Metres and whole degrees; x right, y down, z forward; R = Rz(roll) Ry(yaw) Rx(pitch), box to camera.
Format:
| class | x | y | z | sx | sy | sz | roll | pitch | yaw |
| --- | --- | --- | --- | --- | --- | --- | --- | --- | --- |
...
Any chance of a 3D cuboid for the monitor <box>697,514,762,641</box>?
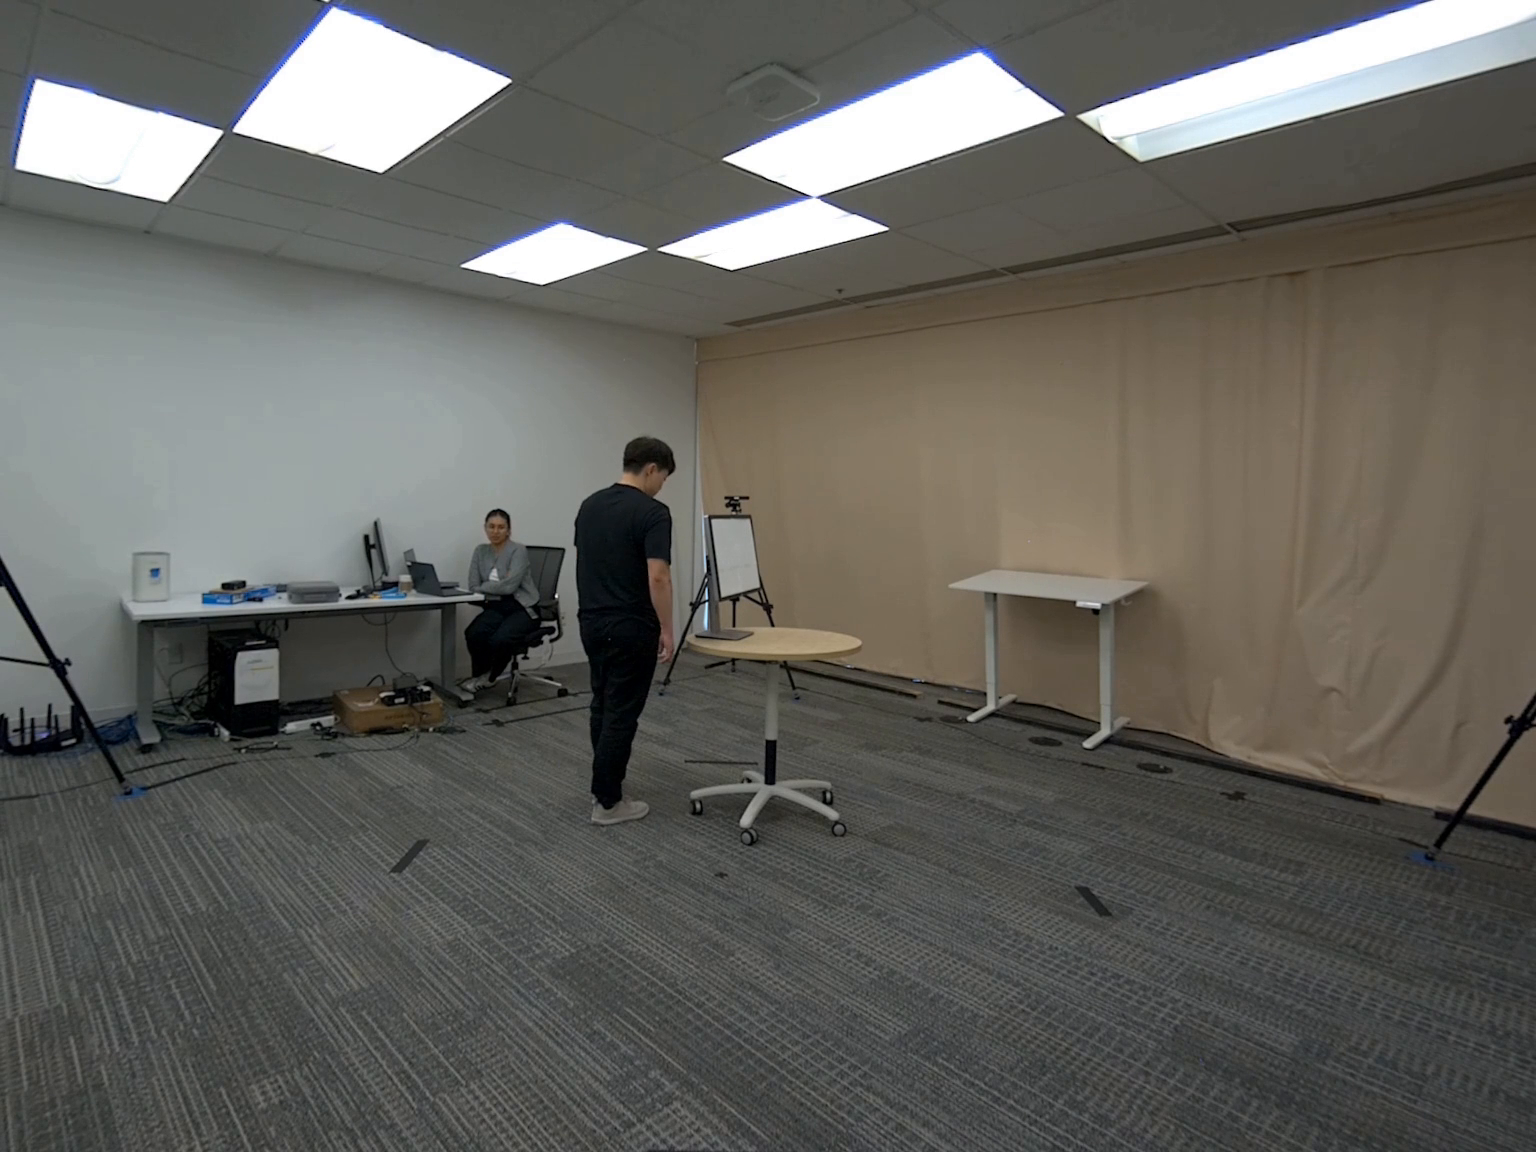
| class | x | y | z | sx | sy | sz | roll | pitch | yaw |
| --- | --- | --- | --- | --- | --- | --- | --- | --- | --- |
| monitor | -0.196 | 0.001 | 3.750 | 0.190 | 0.521 | 0.533 | 3 | 3 | 16 |
